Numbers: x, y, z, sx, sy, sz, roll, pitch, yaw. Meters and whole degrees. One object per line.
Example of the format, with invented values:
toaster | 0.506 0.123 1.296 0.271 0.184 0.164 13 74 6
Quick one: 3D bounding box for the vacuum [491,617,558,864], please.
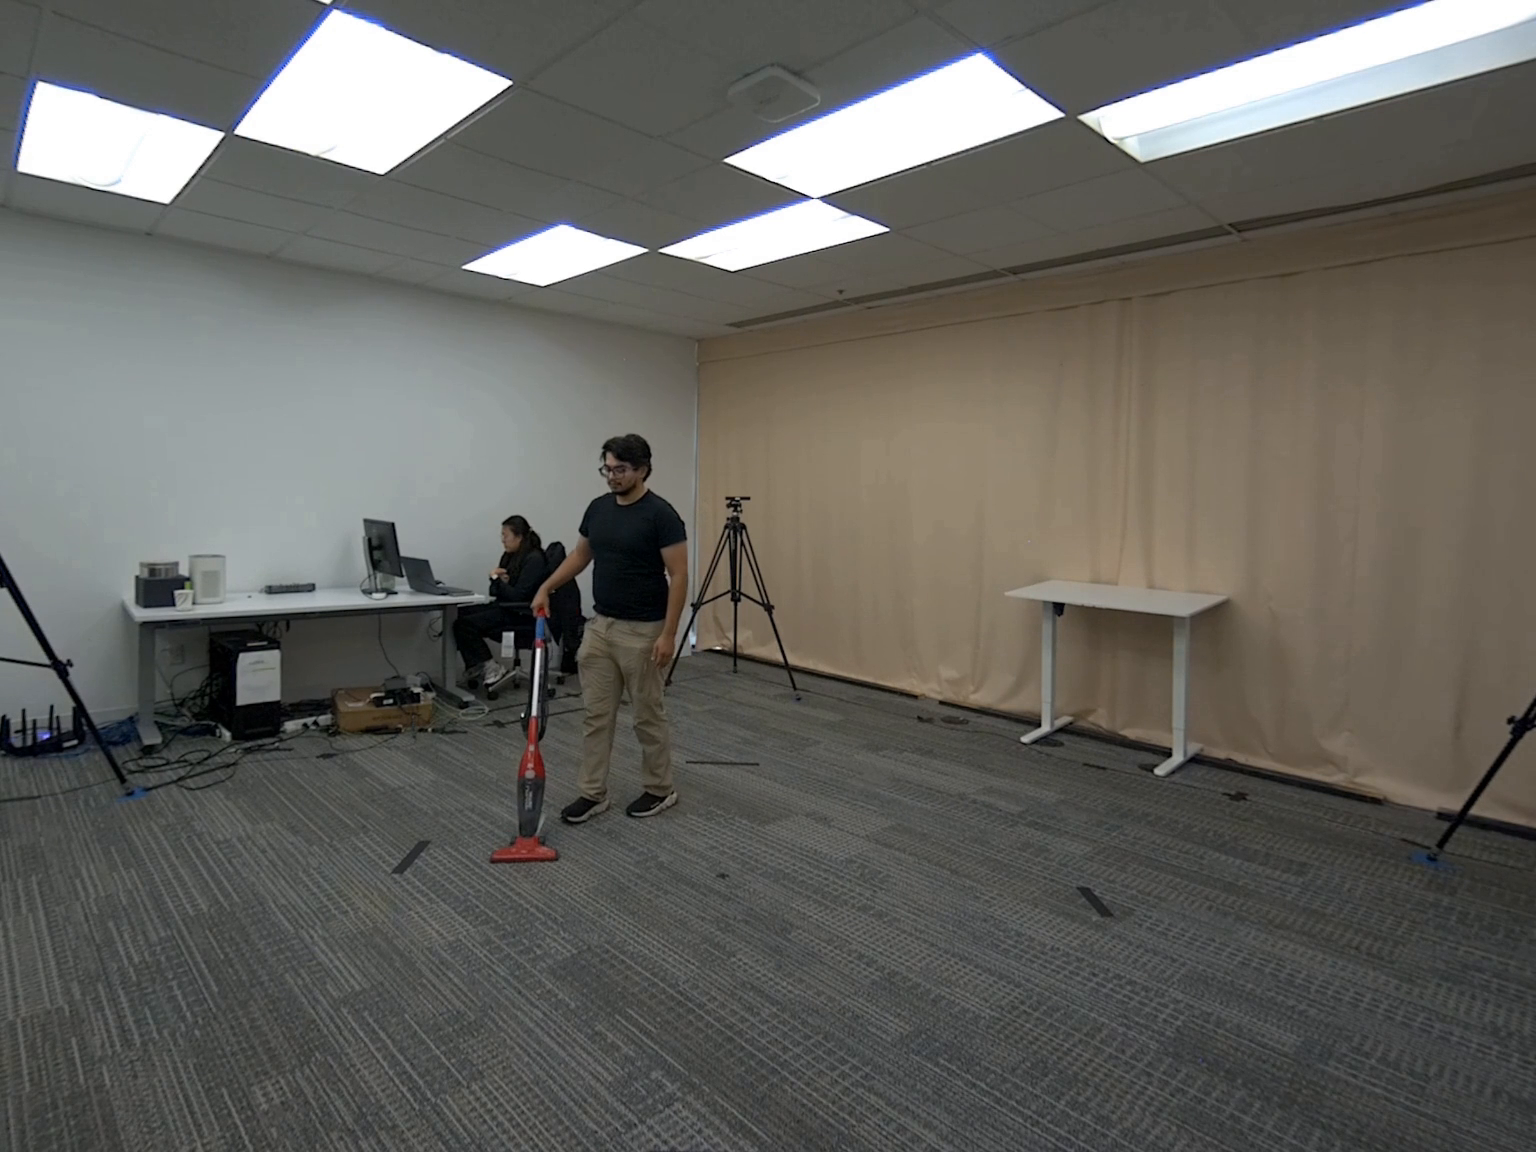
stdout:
vacuum | -0.973 0.606 3.484 0.251 1.070 0.142 0 -27 -8
